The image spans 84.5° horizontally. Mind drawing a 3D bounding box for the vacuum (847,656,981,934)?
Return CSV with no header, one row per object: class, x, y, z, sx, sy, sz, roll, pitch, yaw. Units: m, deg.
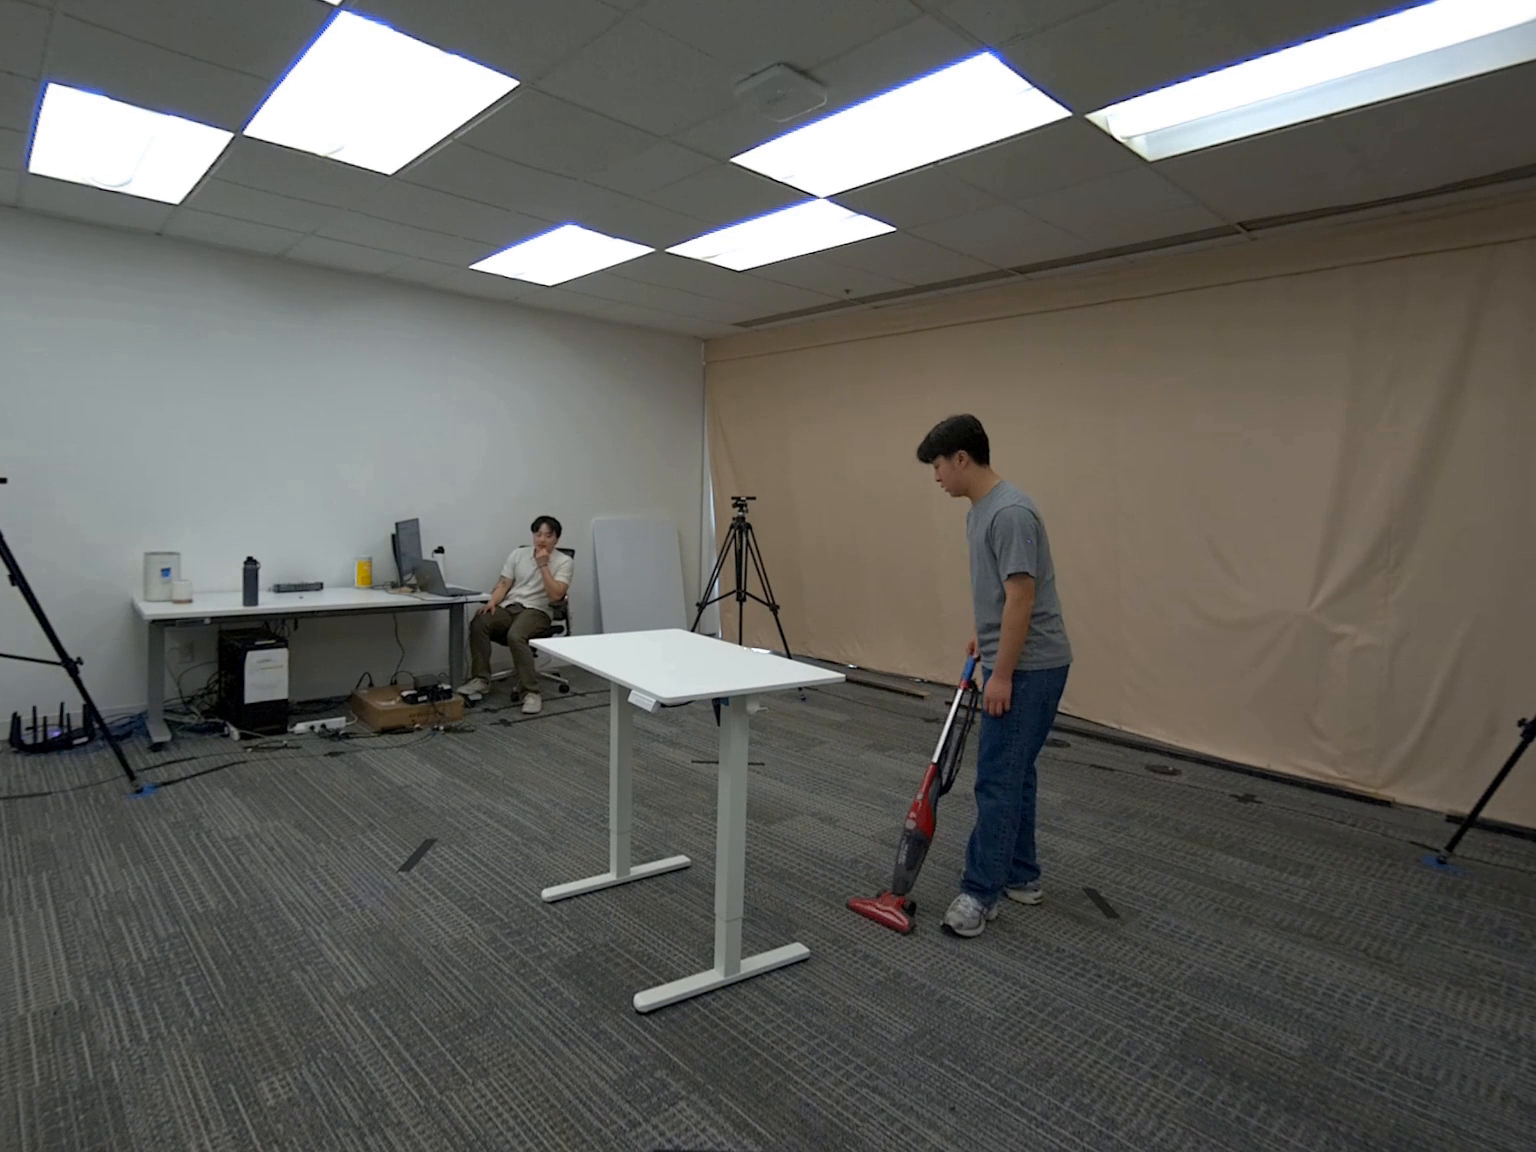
vacuum,0.608,0.704,3.013,0.259,1.056,0.139,4,-31,43
